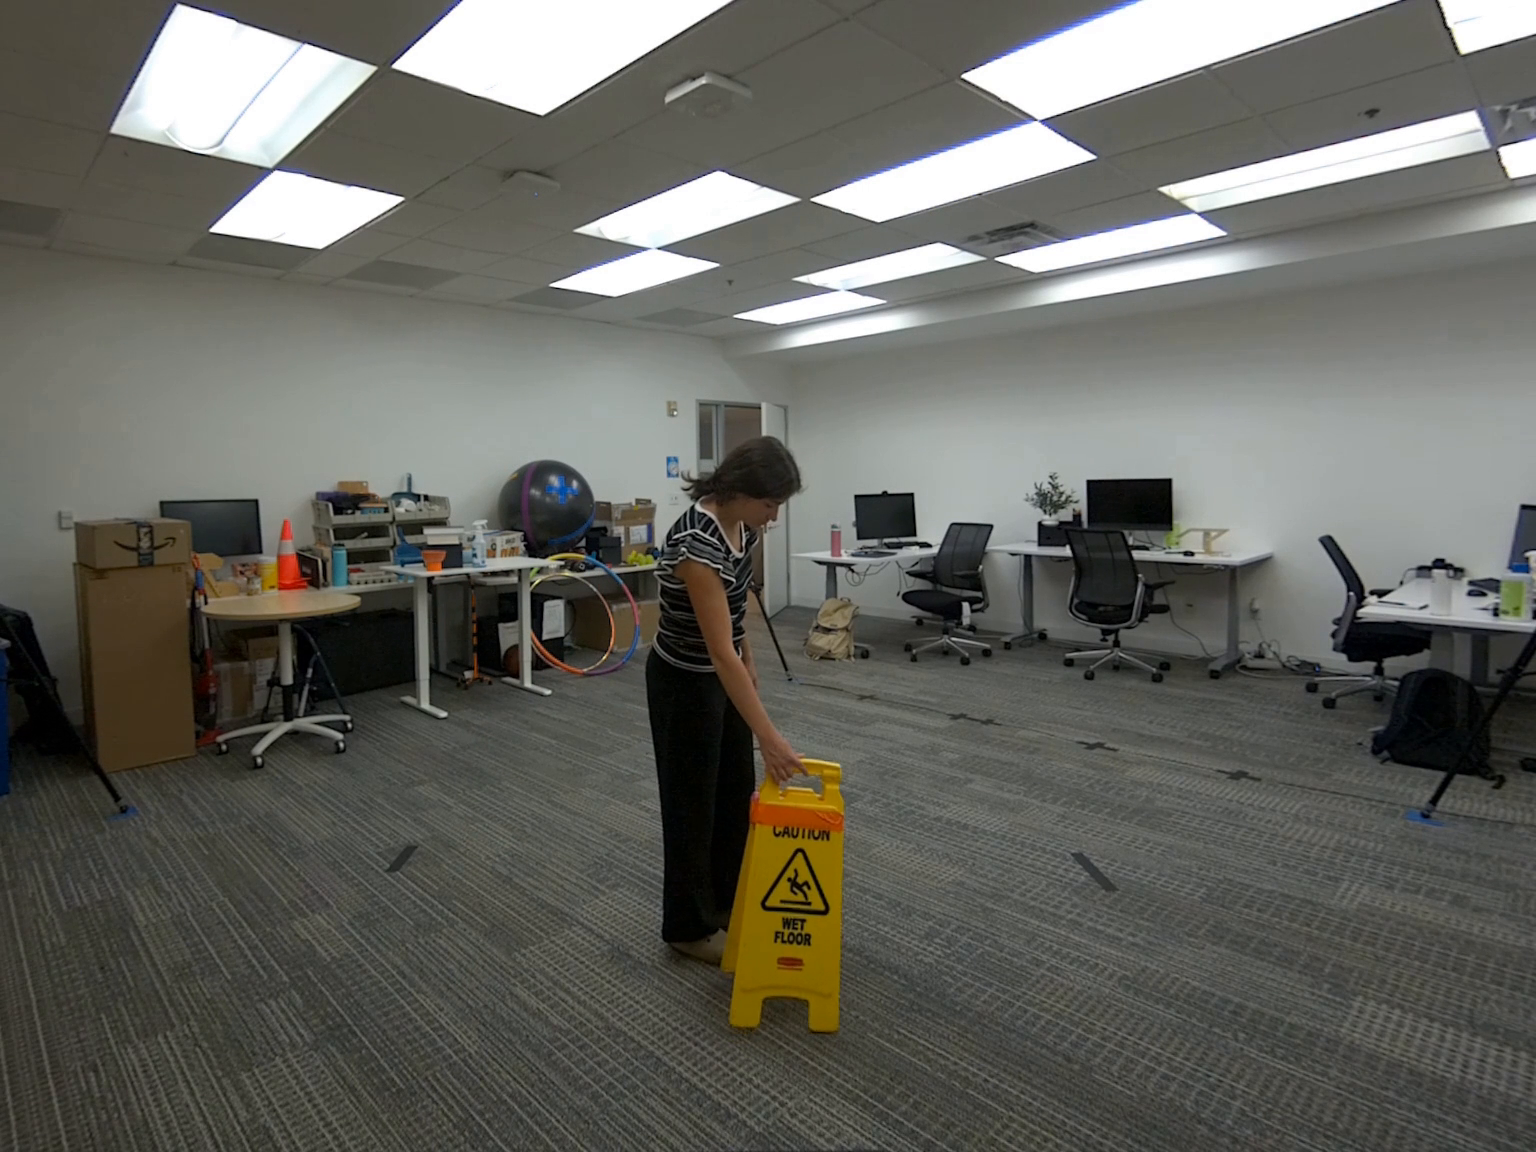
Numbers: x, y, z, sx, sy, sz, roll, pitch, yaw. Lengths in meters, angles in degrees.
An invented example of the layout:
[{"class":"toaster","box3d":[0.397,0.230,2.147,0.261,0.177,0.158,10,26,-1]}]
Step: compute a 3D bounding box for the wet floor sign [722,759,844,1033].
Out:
[{"class":"wet floor sign","box3d":[0.062,0.804,2.250,0.281,0.644,0.292,6,3,-6]}]
